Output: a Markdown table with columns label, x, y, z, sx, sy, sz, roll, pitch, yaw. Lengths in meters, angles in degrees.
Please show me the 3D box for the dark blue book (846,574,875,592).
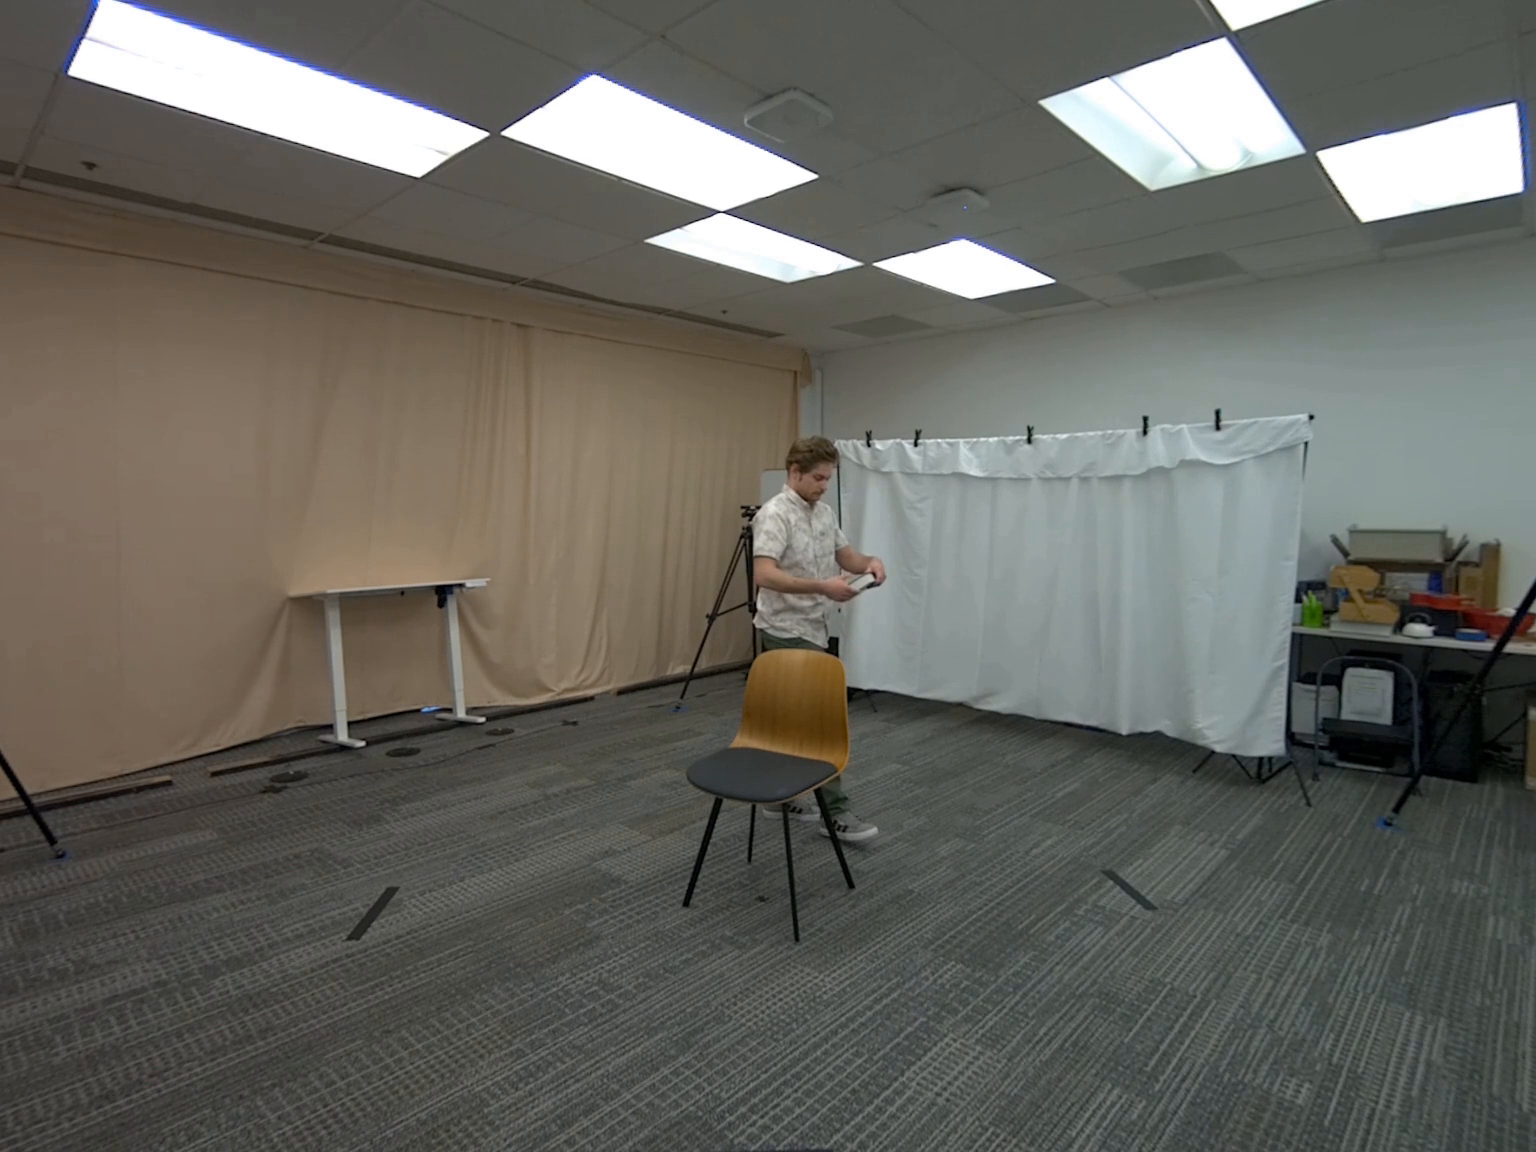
| label | x | y | z | sx | sy | sz | roll | pitch | yaw |
| --- | --- | --- | --- | --- | --- | --- | --- | --- | --- |
| dark blue book | 0.376 | 0.044 | 3.562 | 0.165 | 0.045 | 0.241 | -32 | -7 | 13 |
